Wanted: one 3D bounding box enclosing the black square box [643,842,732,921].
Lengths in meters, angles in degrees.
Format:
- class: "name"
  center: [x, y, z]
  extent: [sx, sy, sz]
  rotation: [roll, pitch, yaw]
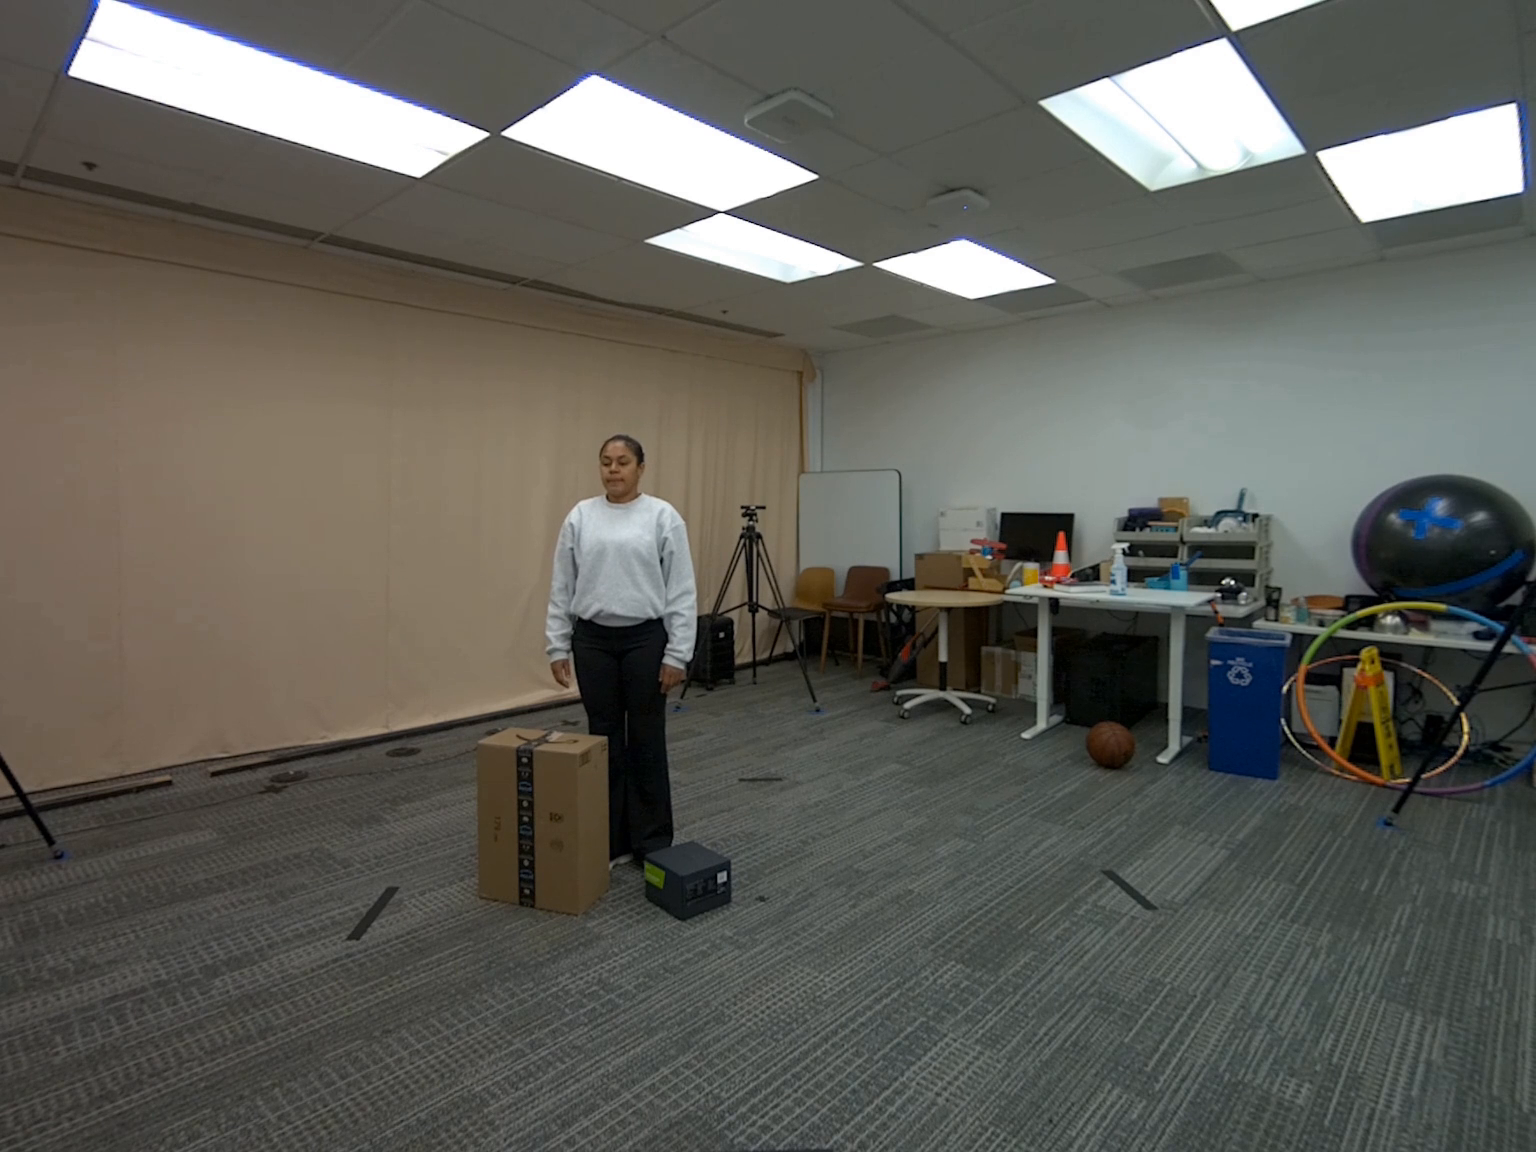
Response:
- class: "black square box"
  center: [-0.281, 1.069, 2.961]
  extent: [0.210, 0.155, 0.235]
  rotation: [-4, 5, -41]
